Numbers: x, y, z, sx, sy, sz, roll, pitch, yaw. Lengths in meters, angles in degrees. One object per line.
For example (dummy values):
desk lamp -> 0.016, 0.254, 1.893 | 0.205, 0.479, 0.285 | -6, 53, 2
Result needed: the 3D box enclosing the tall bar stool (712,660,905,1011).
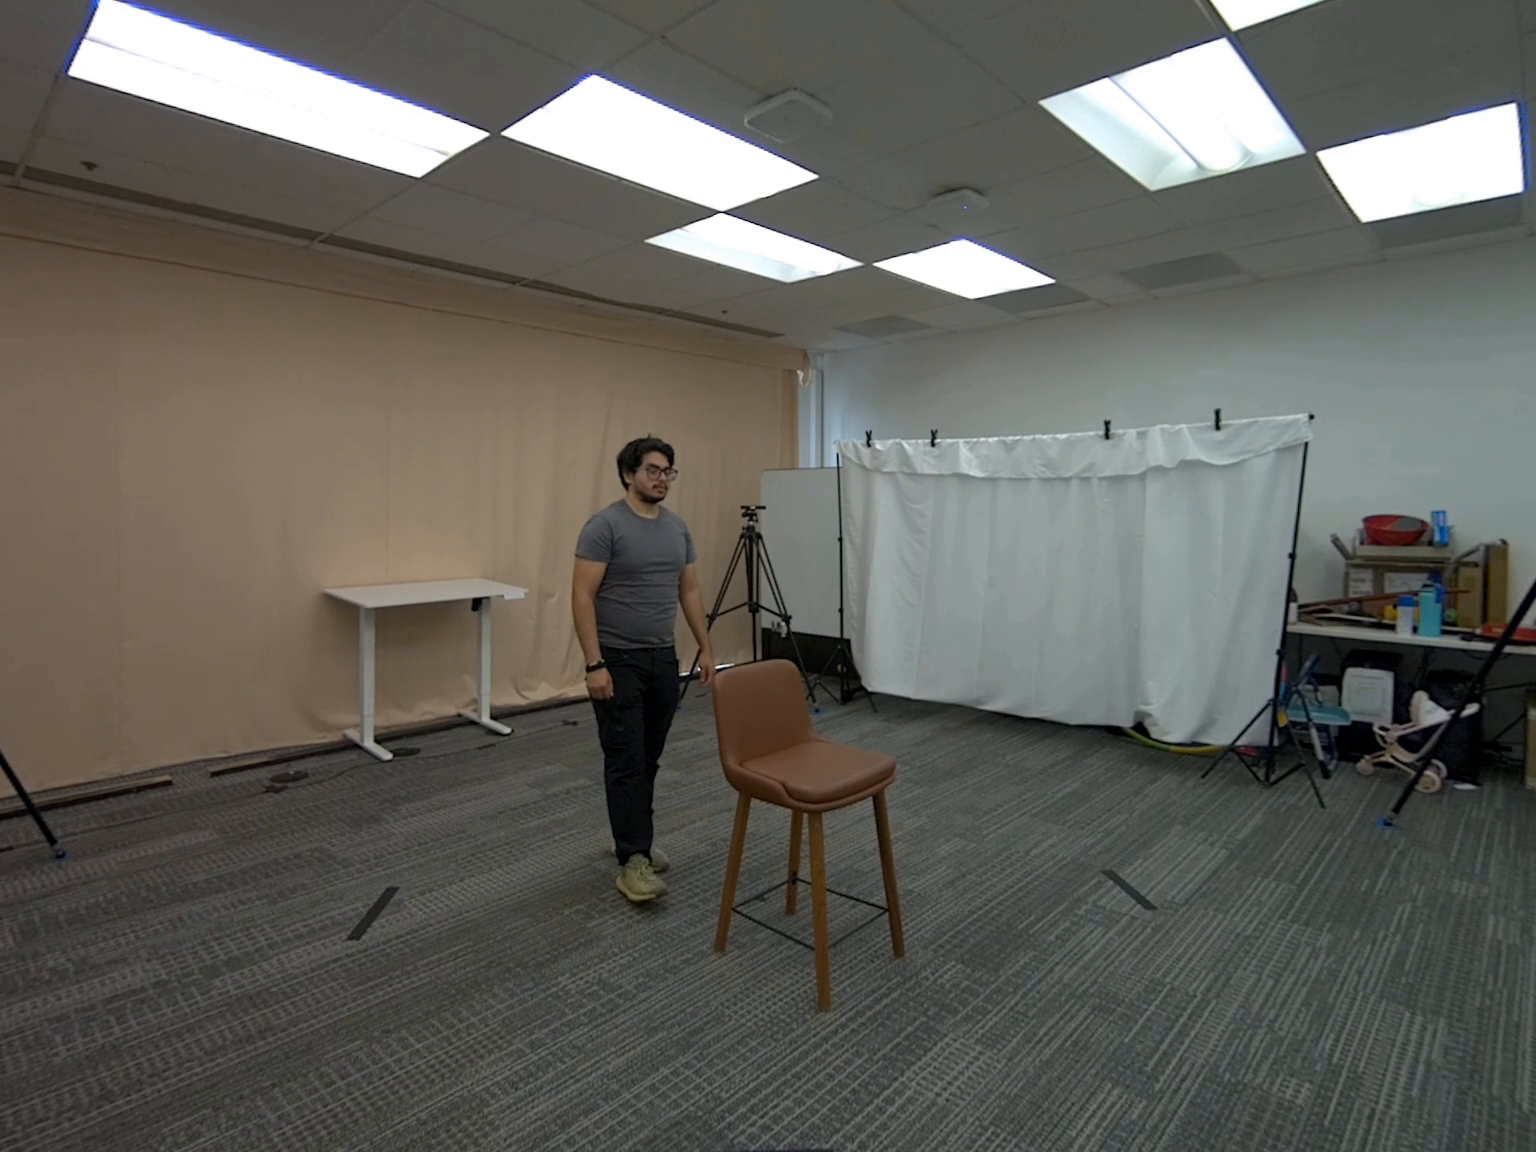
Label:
tall bar stool -> 0.121, 0.741, 2.594 | 0.483, 0.888, 0.442 | 1, 3, 43
